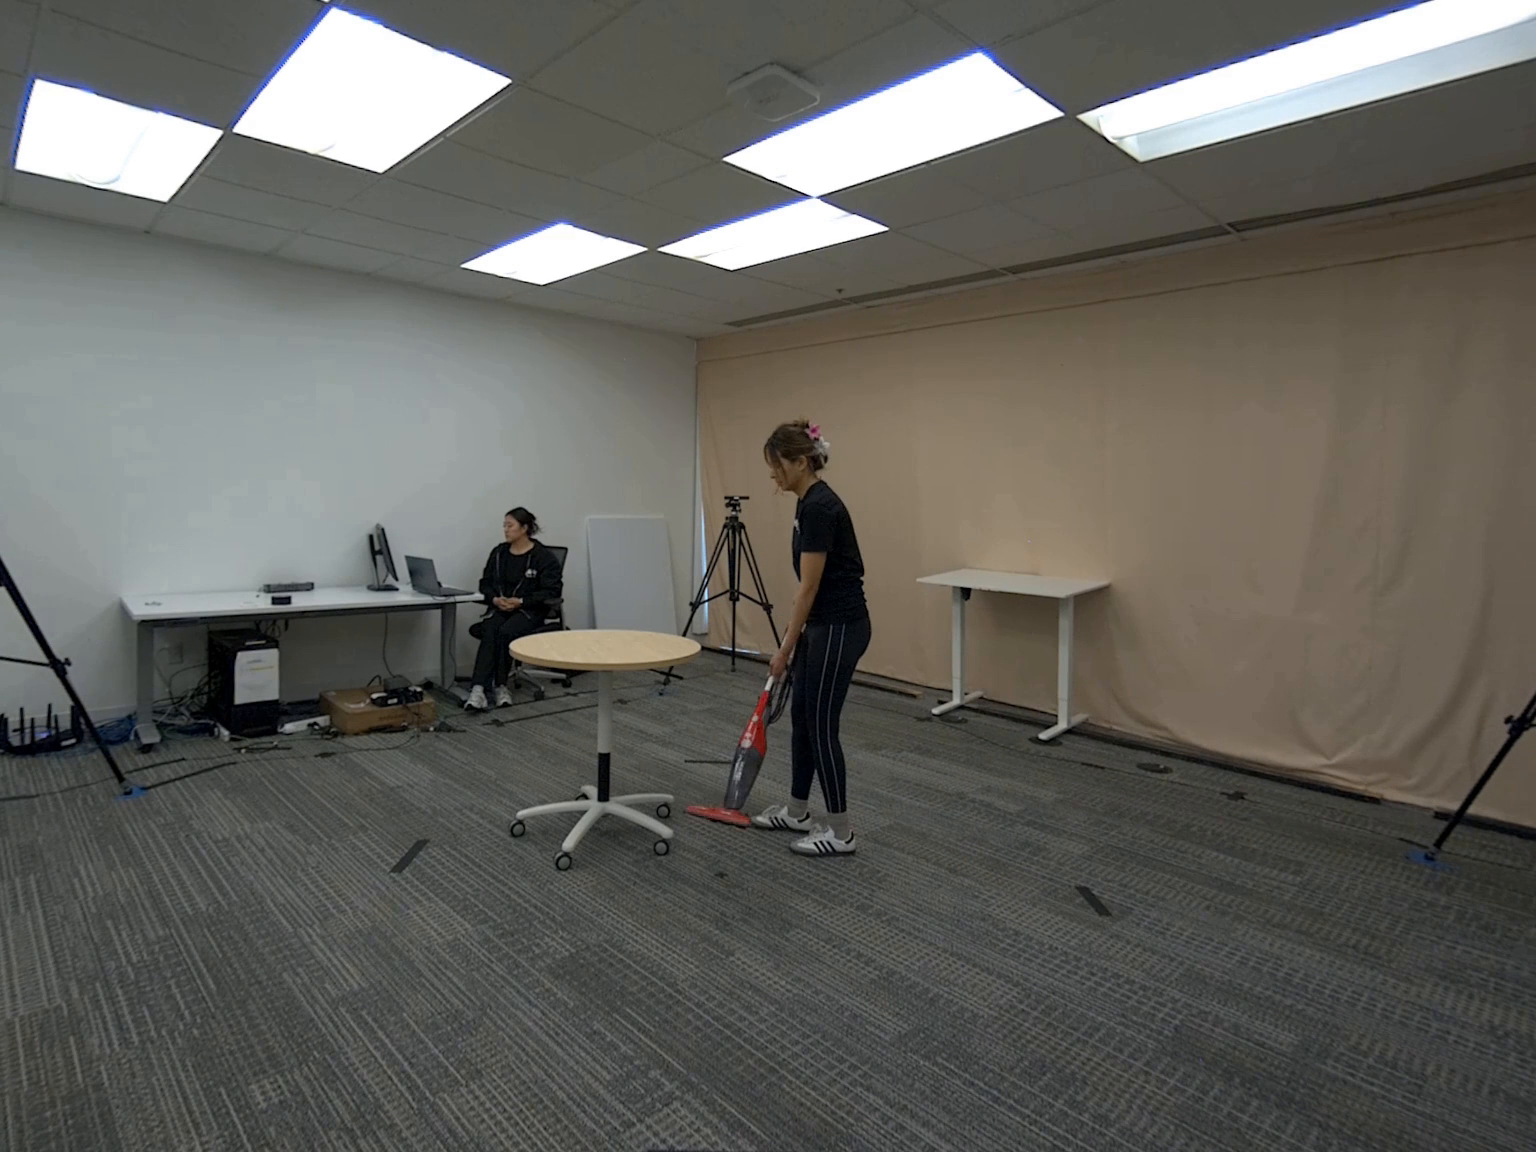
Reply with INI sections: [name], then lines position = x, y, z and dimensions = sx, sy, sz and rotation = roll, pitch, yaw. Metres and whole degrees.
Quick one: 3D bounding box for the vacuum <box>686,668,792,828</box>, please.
[vacuum]
position = -0.004, 0.469, 3.206
dimensions = 0.257, 0.140, 1.060
rotation = 4, 49, 22
